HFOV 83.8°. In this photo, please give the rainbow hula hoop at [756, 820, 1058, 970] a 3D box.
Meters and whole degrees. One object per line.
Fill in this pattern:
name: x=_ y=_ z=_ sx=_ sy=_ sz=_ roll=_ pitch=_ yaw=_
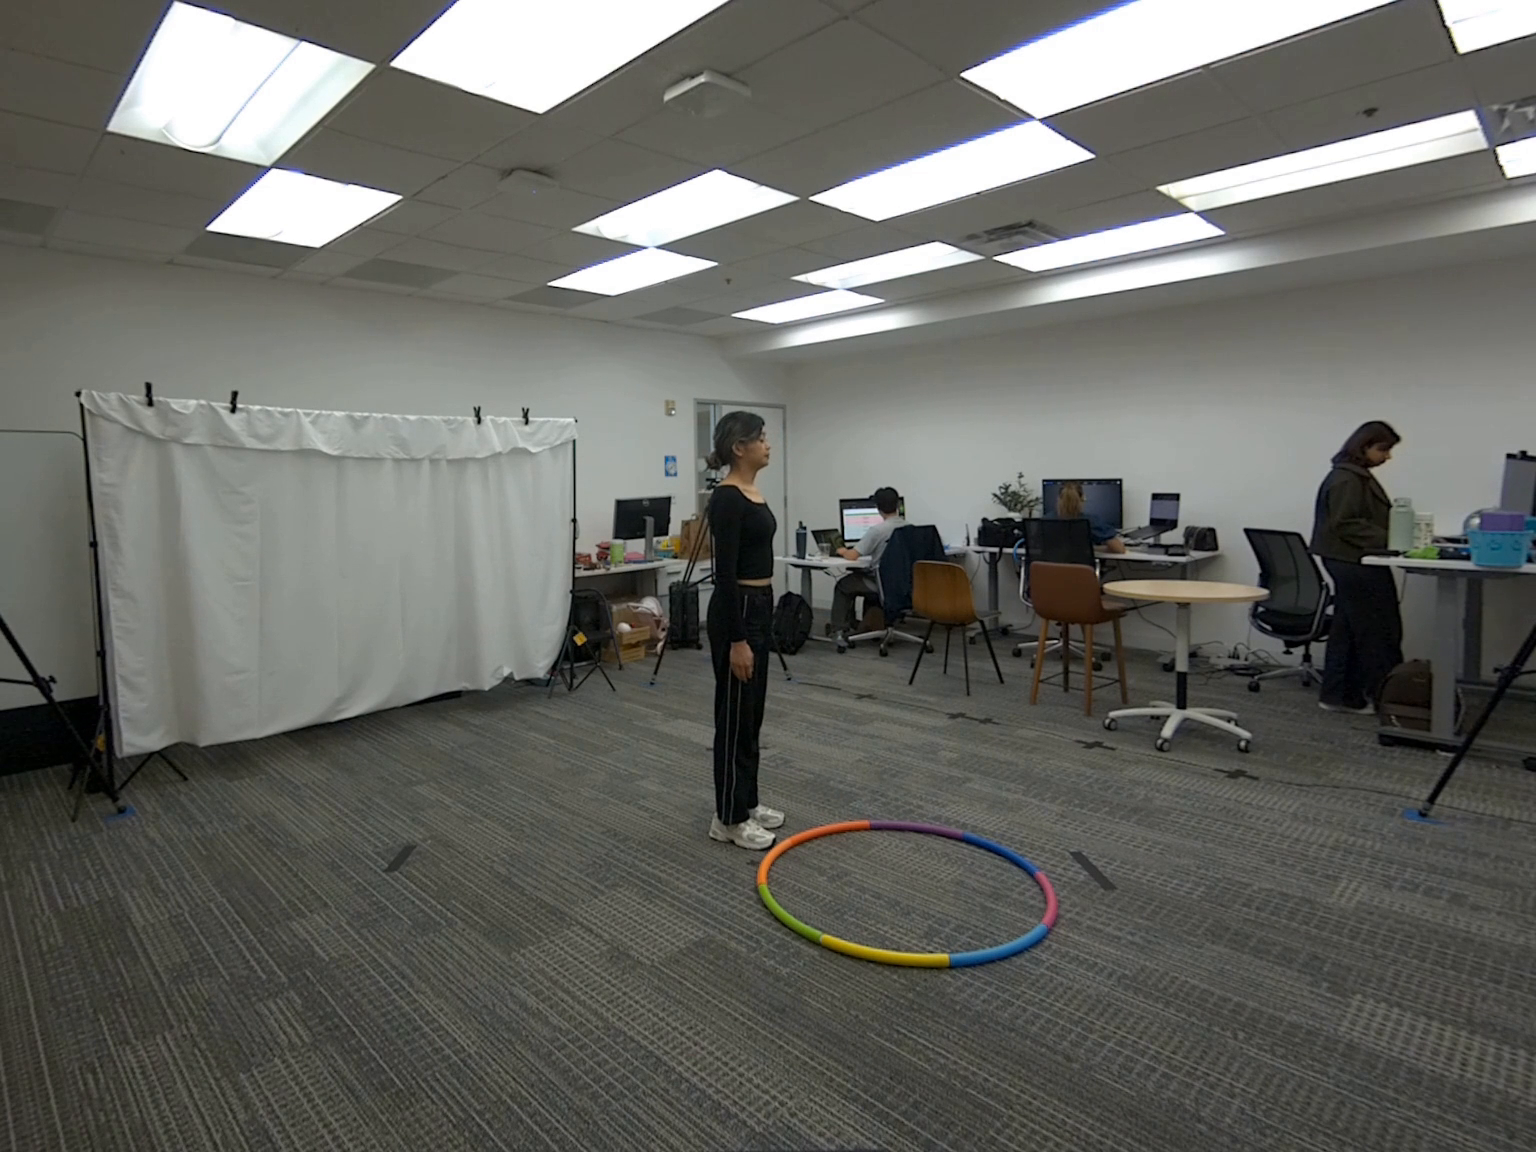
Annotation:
rainbow hula hoop: x=0.454 y=1.026 z=2.904 sx=0.978 sy=0.035 sz=0.984 roll=-2 pitch=6 yaw=-2
